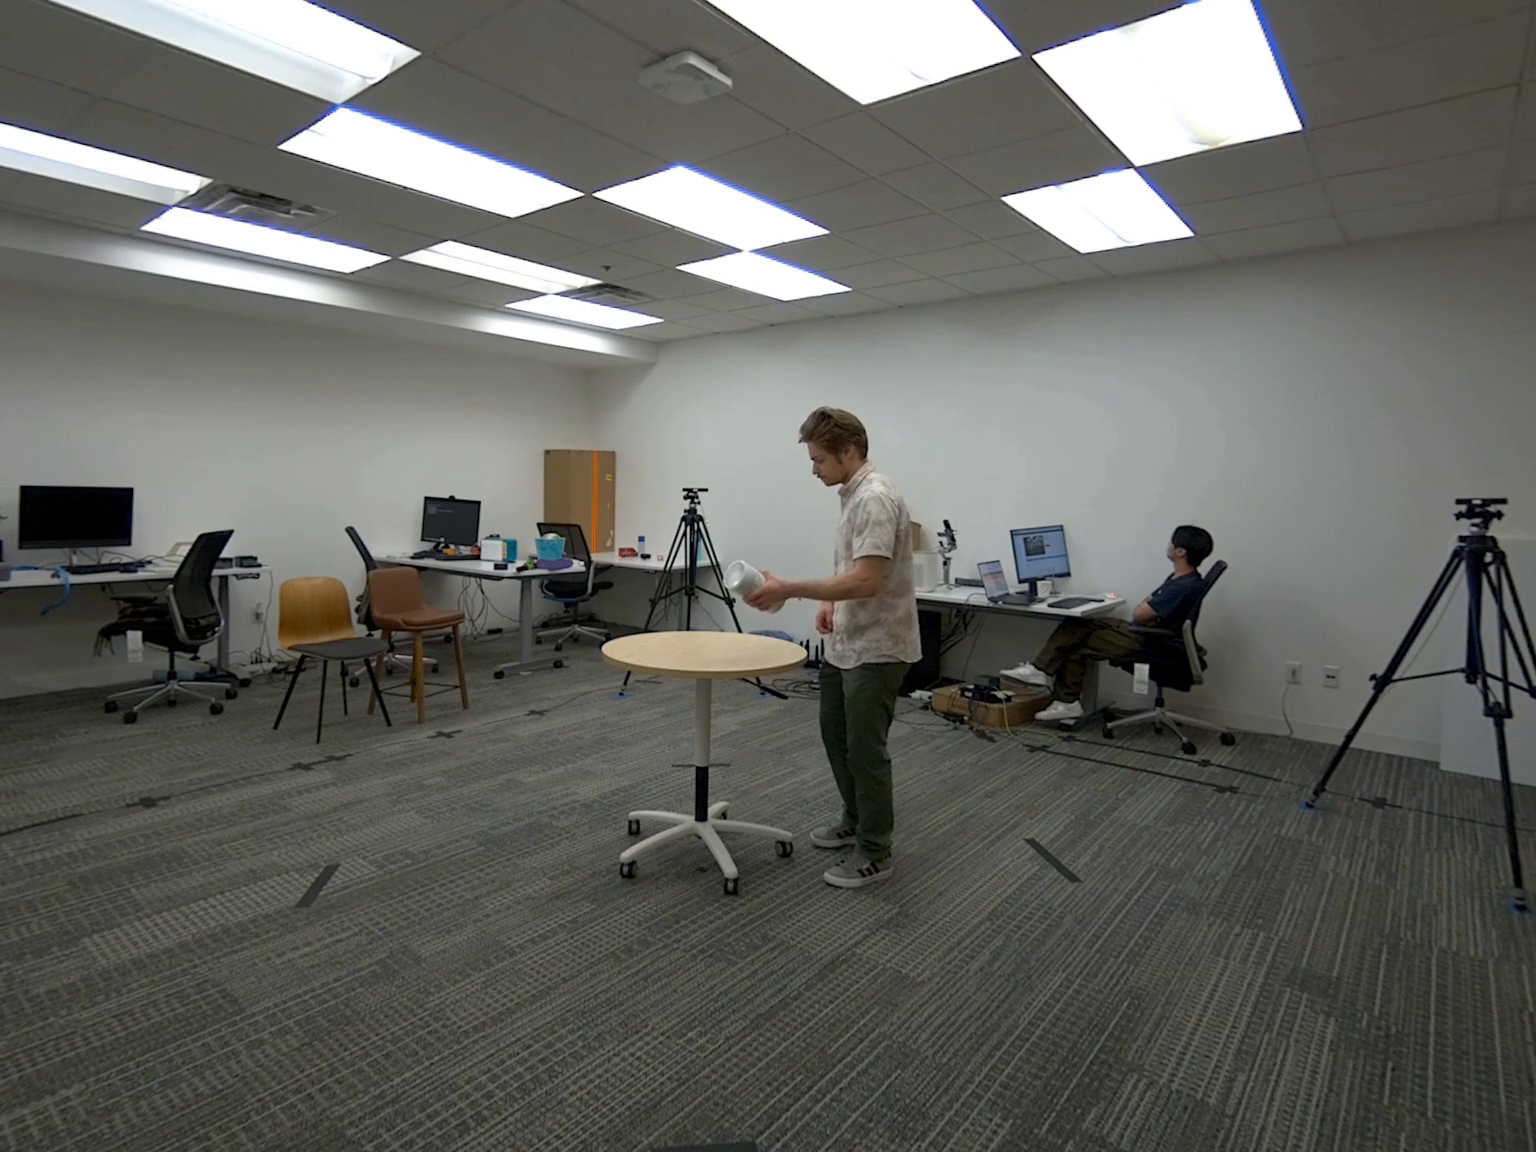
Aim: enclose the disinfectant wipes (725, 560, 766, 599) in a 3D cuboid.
[{"bbox_3d":[-0.056,0.033,2.924,0.209,0.118,0.122,32,-16,-36],"label":"disinfectant wipes"}]
